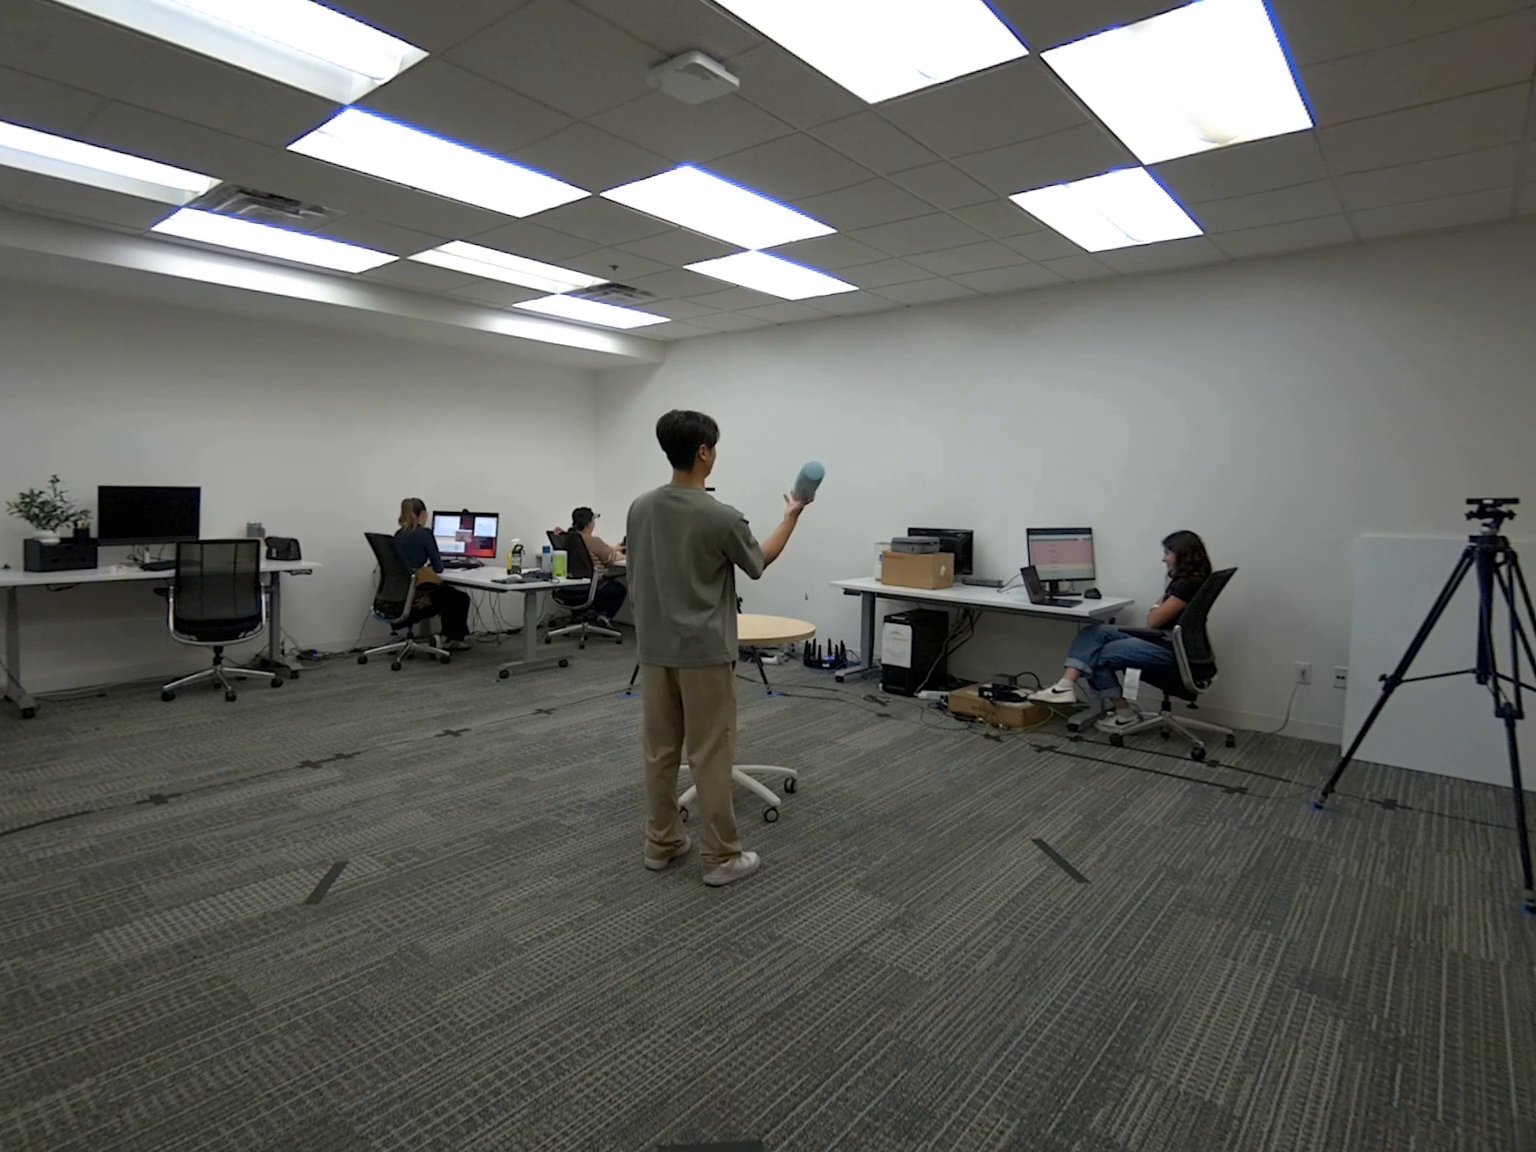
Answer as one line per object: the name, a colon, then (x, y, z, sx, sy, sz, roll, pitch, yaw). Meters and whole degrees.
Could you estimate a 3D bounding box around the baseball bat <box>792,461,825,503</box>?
baseball bat: (0.123, -0.324, 3.371, 0.088, 0.090, 0.539, 1, -15, -10)
